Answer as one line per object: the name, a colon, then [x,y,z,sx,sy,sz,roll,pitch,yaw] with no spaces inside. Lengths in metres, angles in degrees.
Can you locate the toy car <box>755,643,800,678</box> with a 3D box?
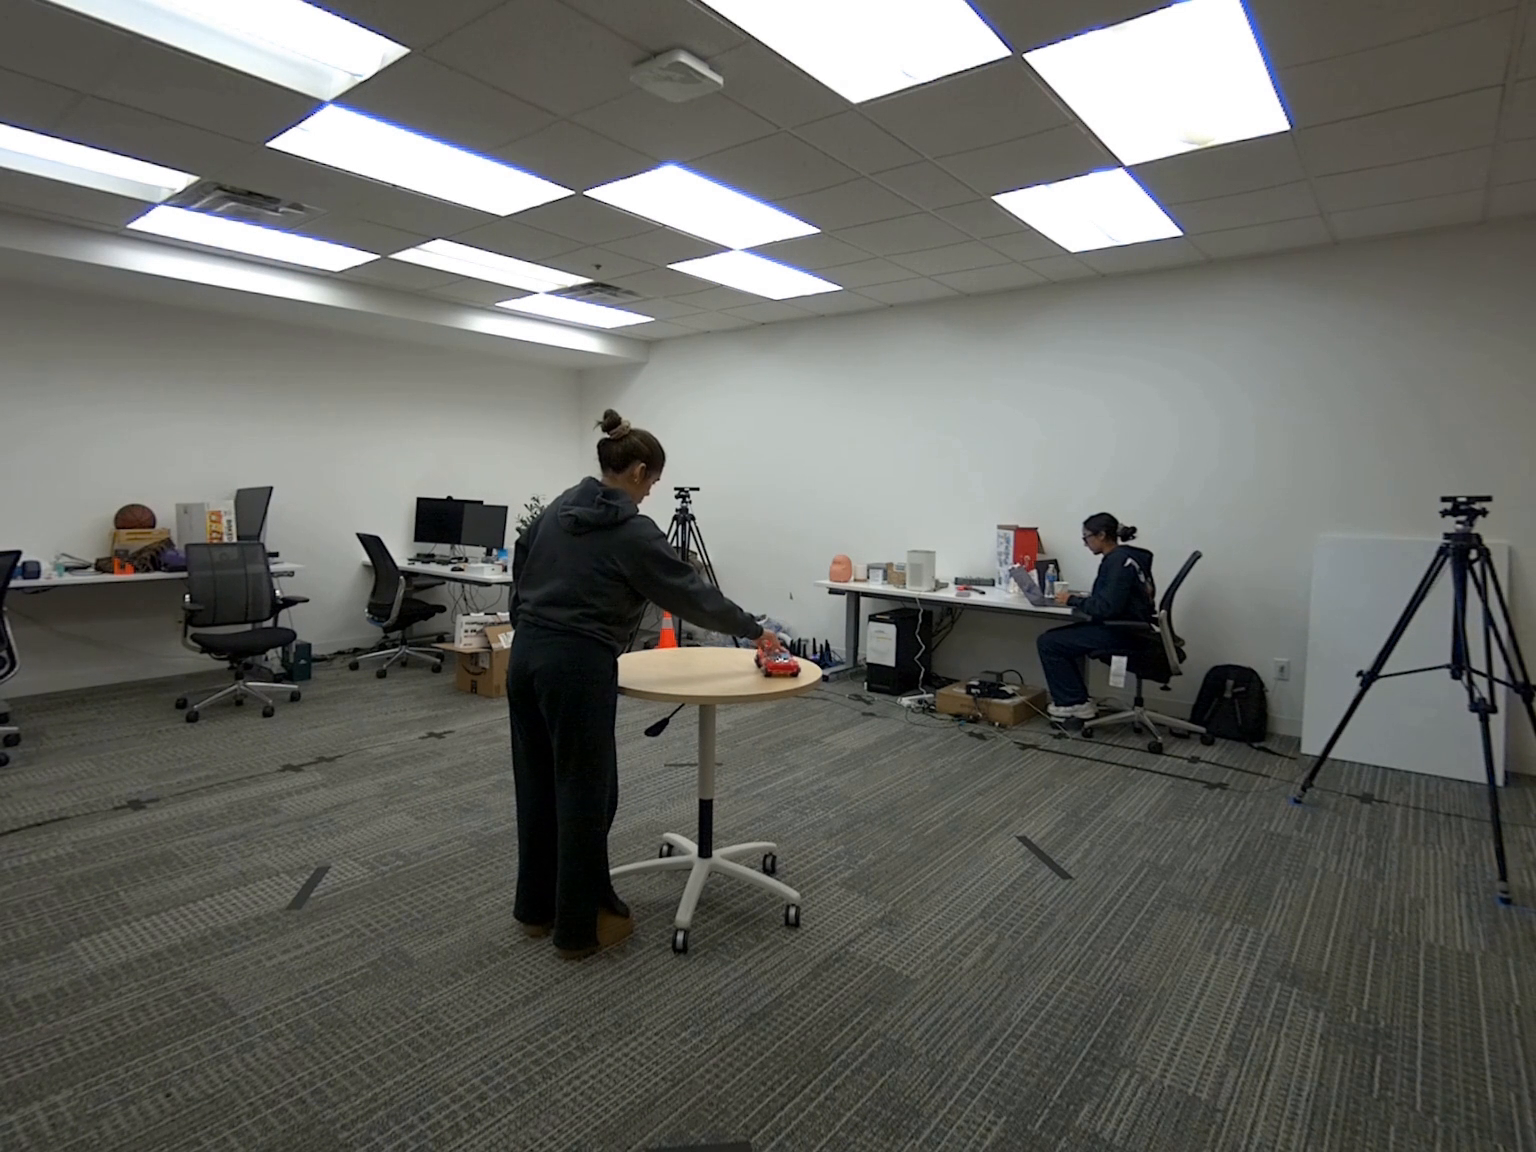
toy car: [0.023,0.281,2.840,0.129,0.082,0.260,-1,17,-8]
